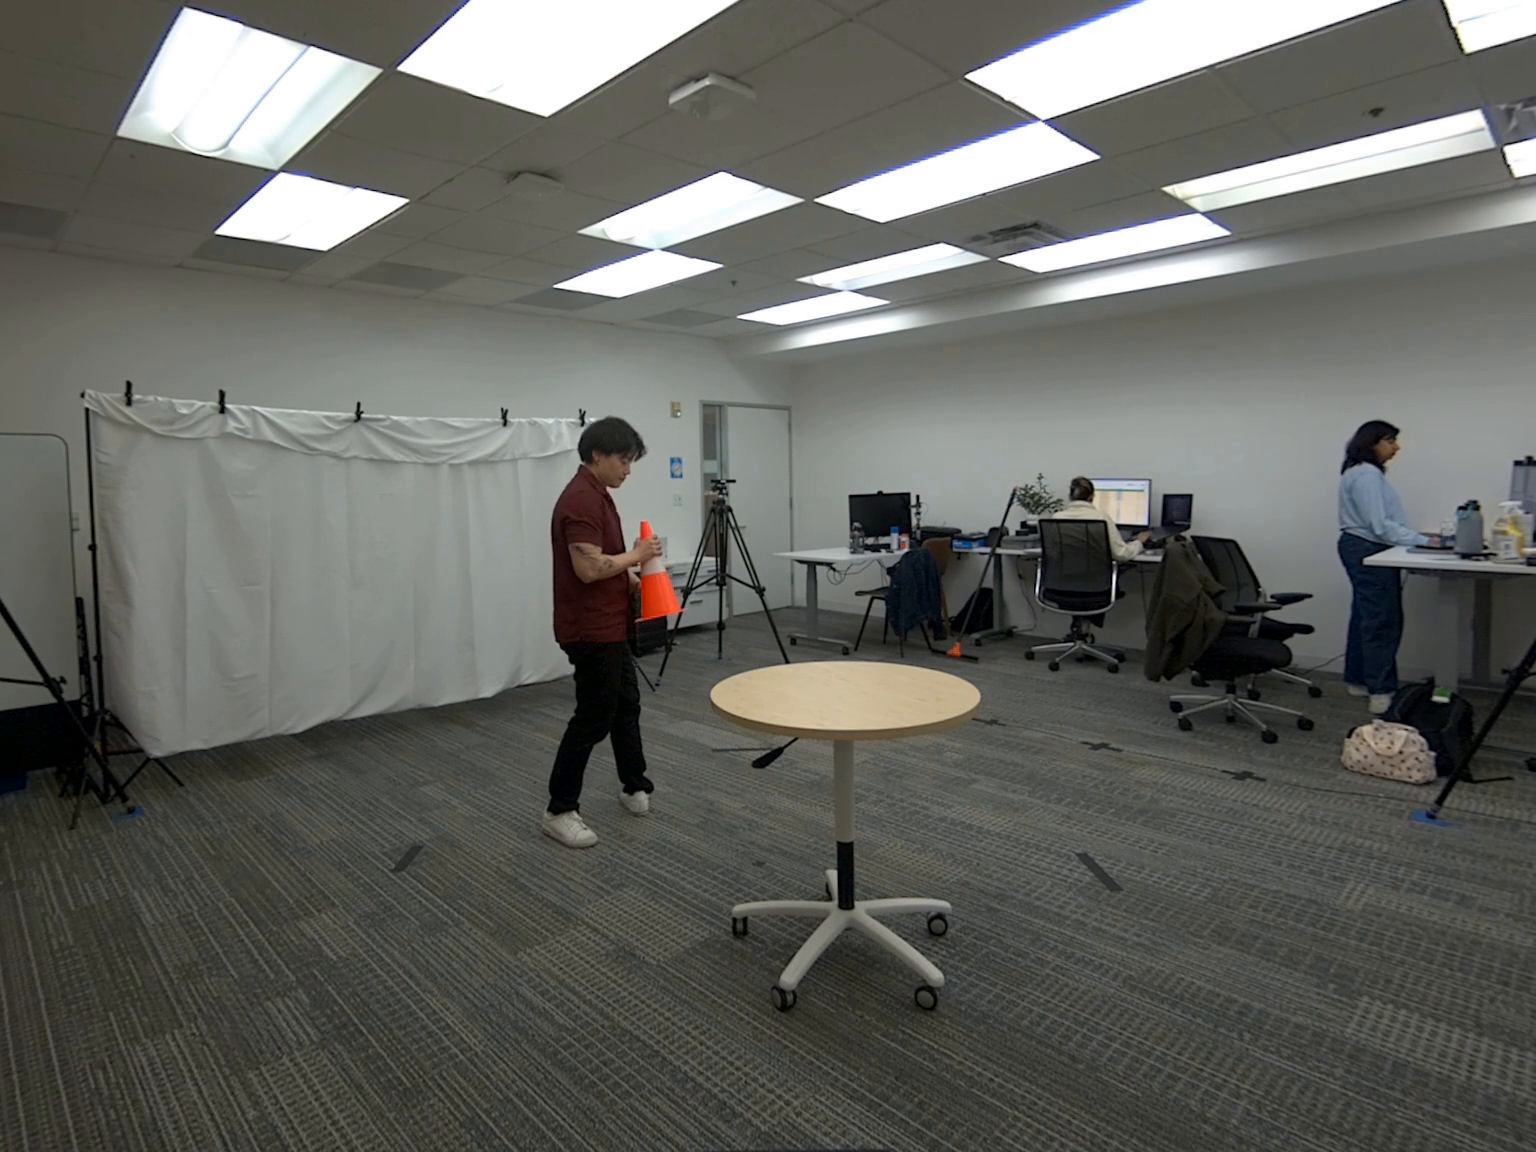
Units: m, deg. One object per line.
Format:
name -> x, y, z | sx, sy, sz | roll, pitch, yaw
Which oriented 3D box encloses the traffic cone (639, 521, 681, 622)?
traffic cone -> -0.469, -0.029, 3.400 | 0.205, 0.384, 0.203 | -11, 0, 11
